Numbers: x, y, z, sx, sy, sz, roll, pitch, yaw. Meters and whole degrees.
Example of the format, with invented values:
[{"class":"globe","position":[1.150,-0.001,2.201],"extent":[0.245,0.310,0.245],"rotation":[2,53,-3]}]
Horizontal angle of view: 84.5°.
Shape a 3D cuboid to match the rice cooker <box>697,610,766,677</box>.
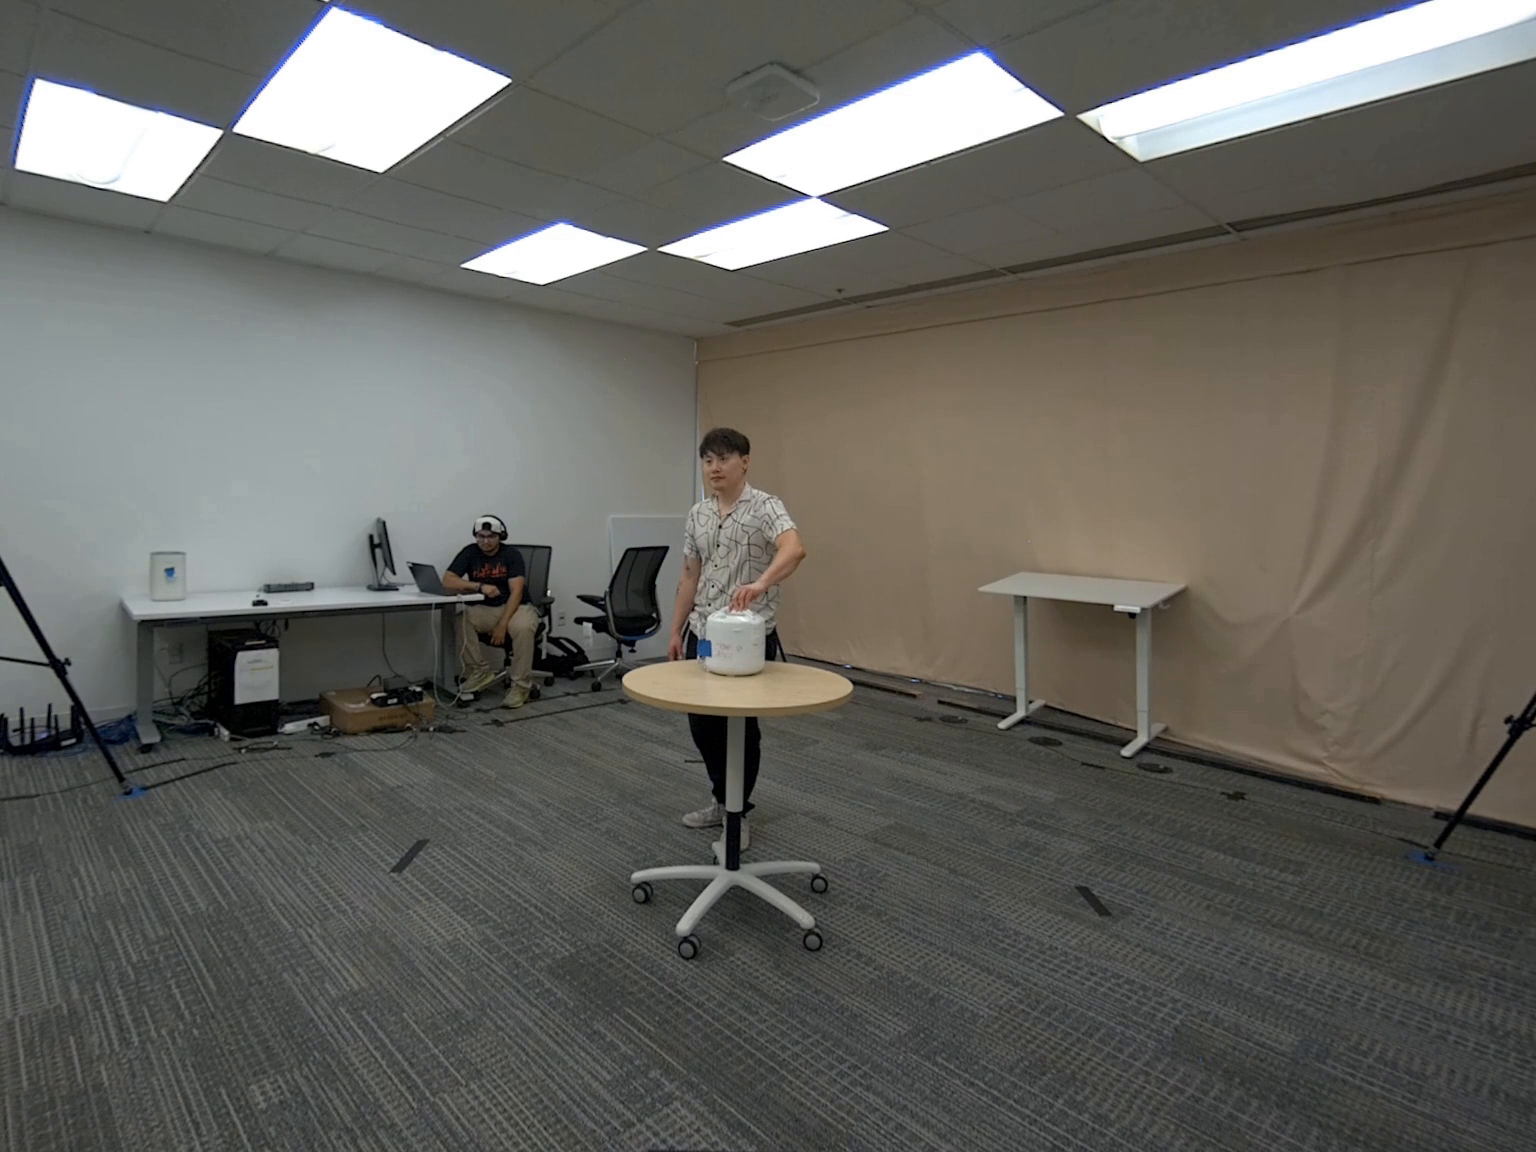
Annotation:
[{"class":"rice cooker","position":[-0.123,0.219,2.949],"extent":[0.212,0.232,0.226],"rotation":[-3,7,-43]}]
